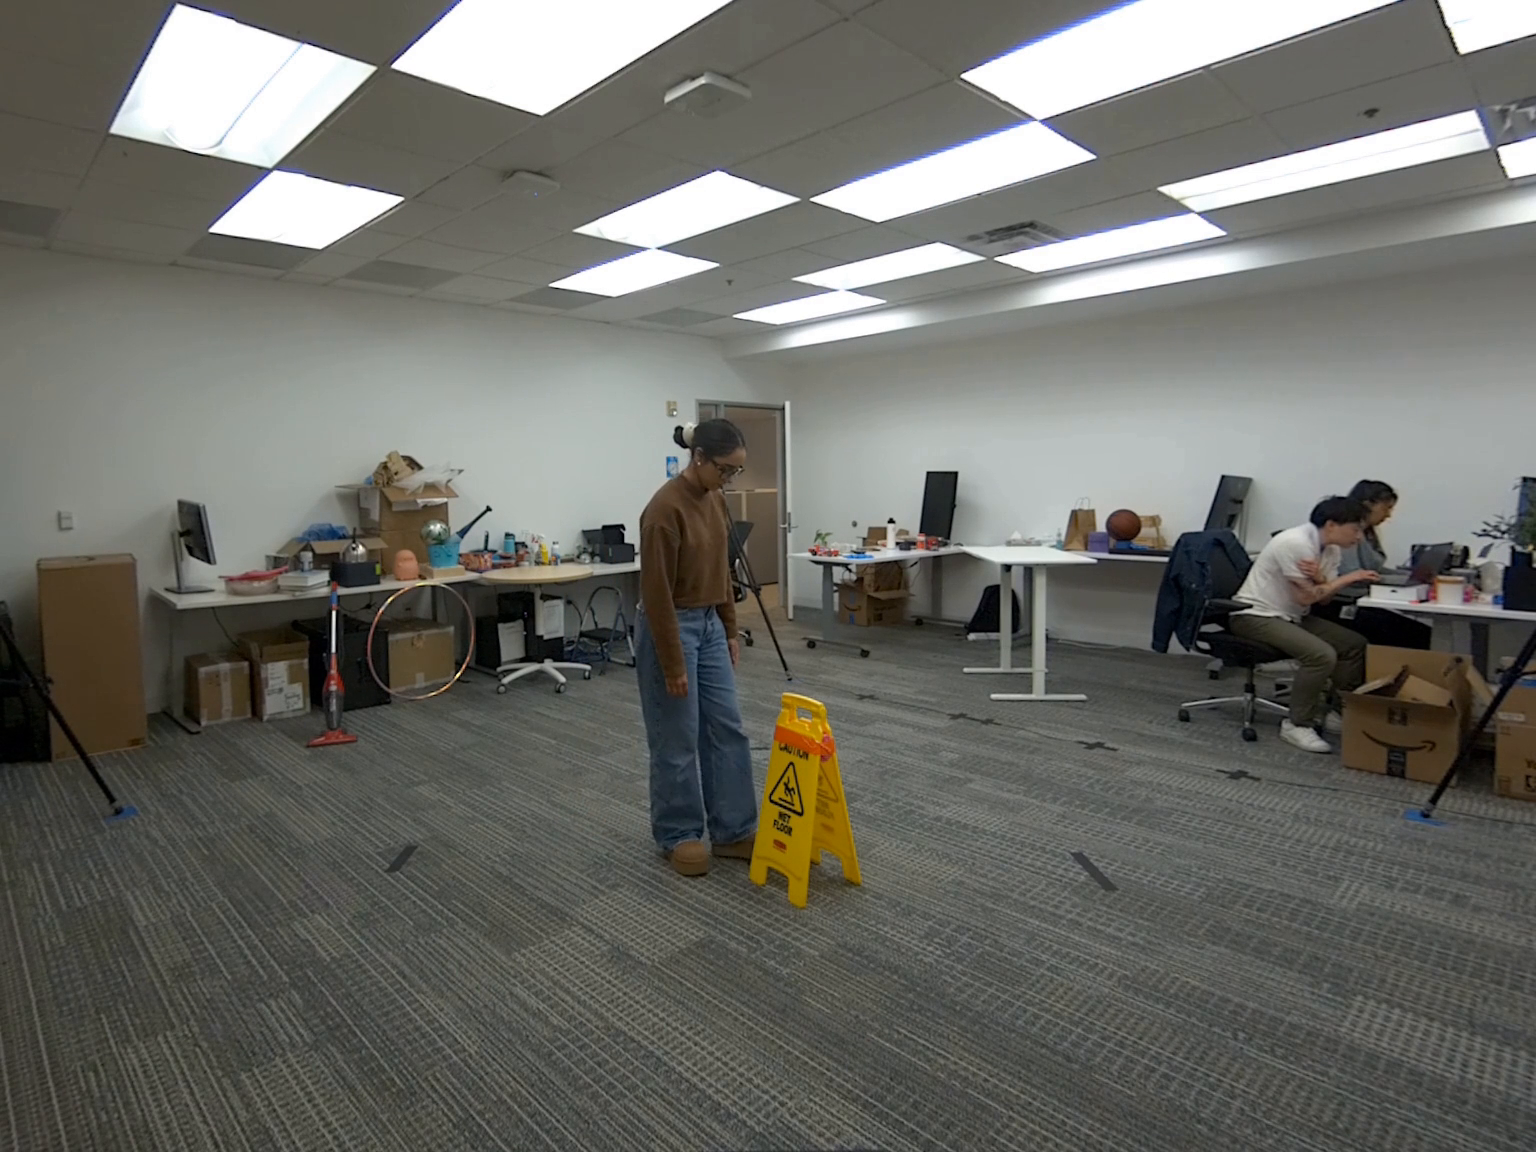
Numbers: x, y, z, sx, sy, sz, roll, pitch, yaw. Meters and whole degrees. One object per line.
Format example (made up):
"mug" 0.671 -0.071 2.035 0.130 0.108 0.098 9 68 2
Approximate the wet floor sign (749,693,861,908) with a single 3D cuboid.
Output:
"wet floor sign" 0.125 0.737 2.933 0.282 0.644 0.291 -5 5 -39
